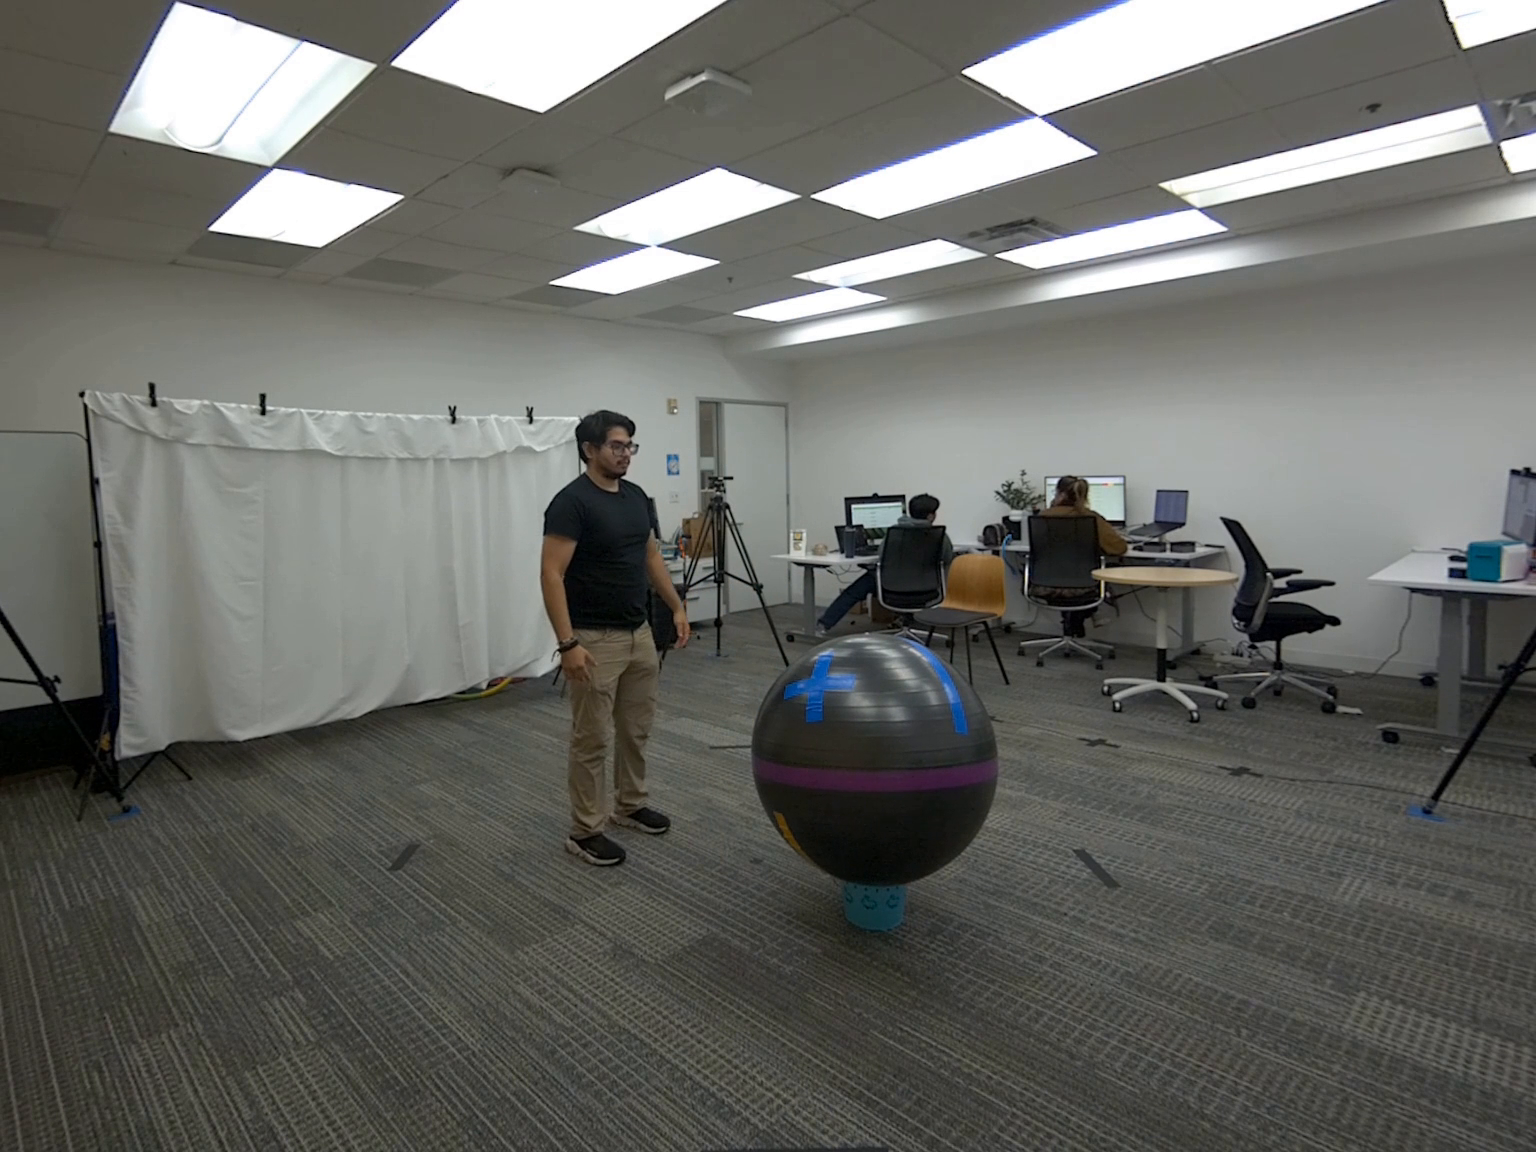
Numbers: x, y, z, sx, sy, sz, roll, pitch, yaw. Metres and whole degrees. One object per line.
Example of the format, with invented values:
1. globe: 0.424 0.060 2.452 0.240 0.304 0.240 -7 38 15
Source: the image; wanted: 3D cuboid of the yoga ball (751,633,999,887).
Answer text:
1. yoga ball: 0.335 0.562 2.680 0.757 0.755 0.762 -1 5 -2
